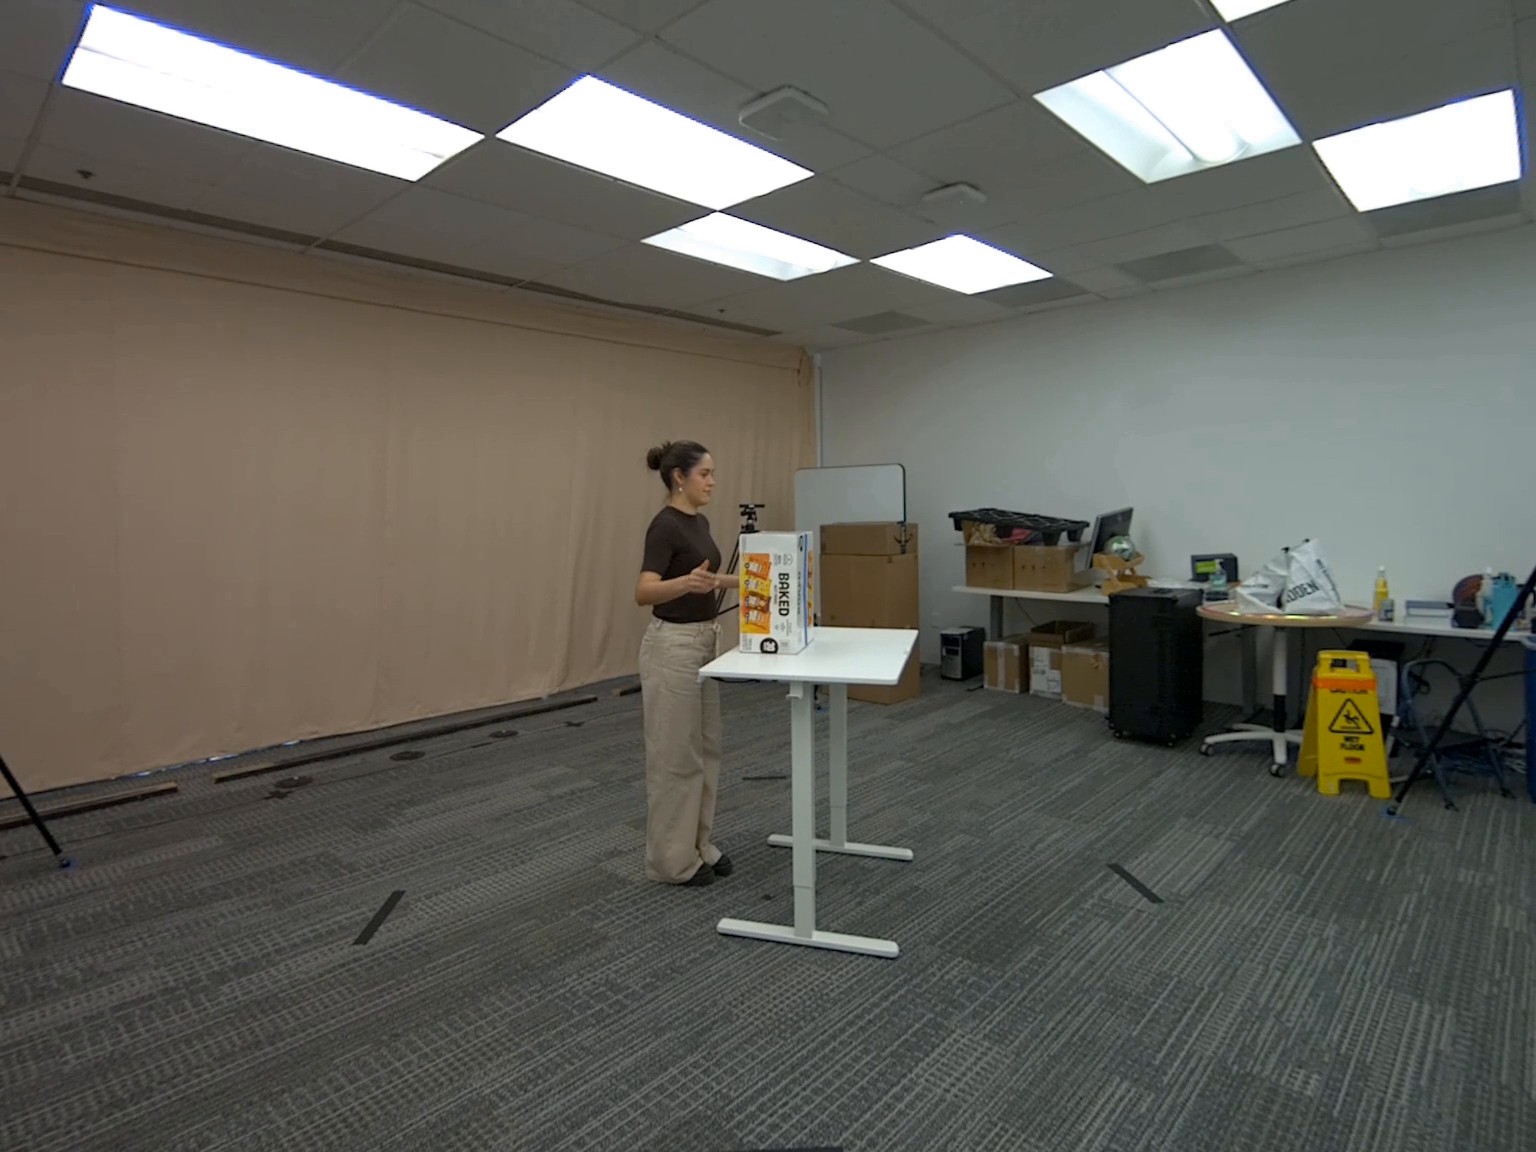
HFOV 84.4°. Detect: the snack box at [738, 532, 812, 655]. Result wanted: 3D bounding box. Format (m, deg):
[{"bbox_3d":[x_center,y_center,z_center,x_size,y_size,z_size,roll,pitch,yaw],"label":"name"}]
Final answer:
[{"bbox_3d":[0.035,0.050,3.013,0.209,0.404,0.336,1,3,13],"label":"snack box"}]
